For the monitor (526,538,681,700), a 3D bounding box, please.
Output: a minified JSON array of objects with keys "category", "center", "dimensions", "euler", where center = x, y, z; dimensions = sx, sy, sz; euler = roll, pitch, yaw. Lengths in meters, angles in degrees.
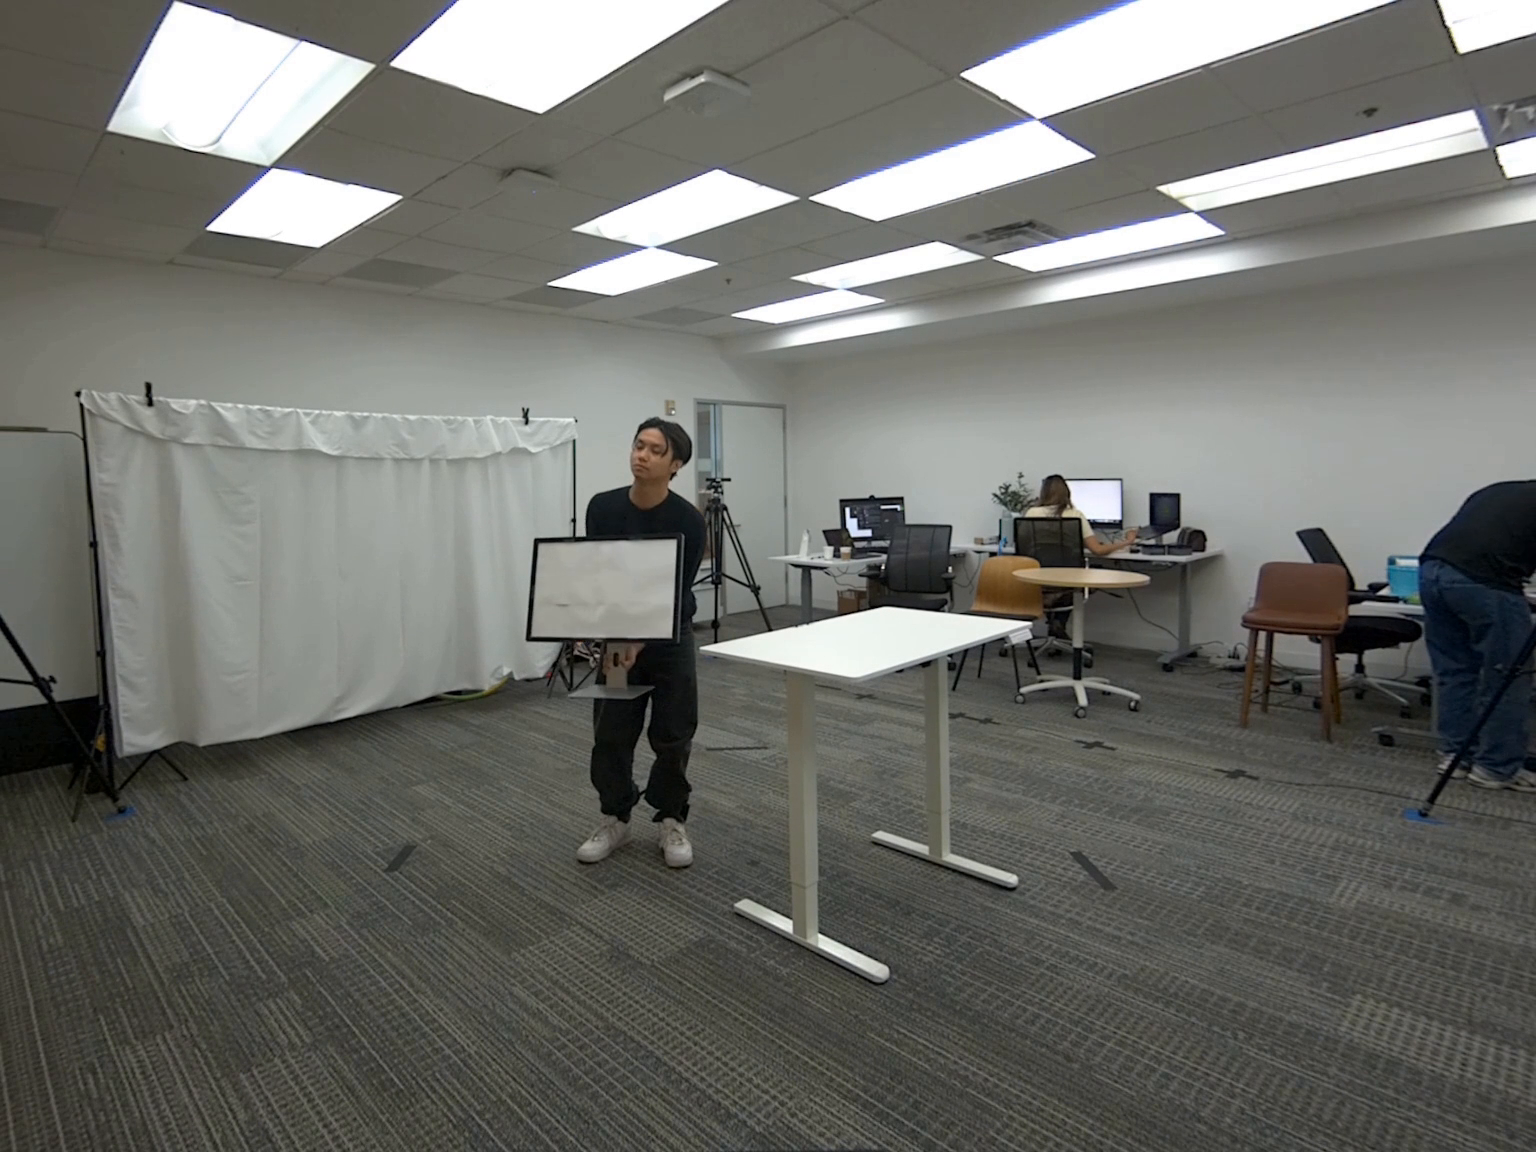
[{"category":"monitor","center":[-0.544,0.137,2.928],"dimensions":[0.548,0.522,0.184],"euler":[-2,0,18]}]
